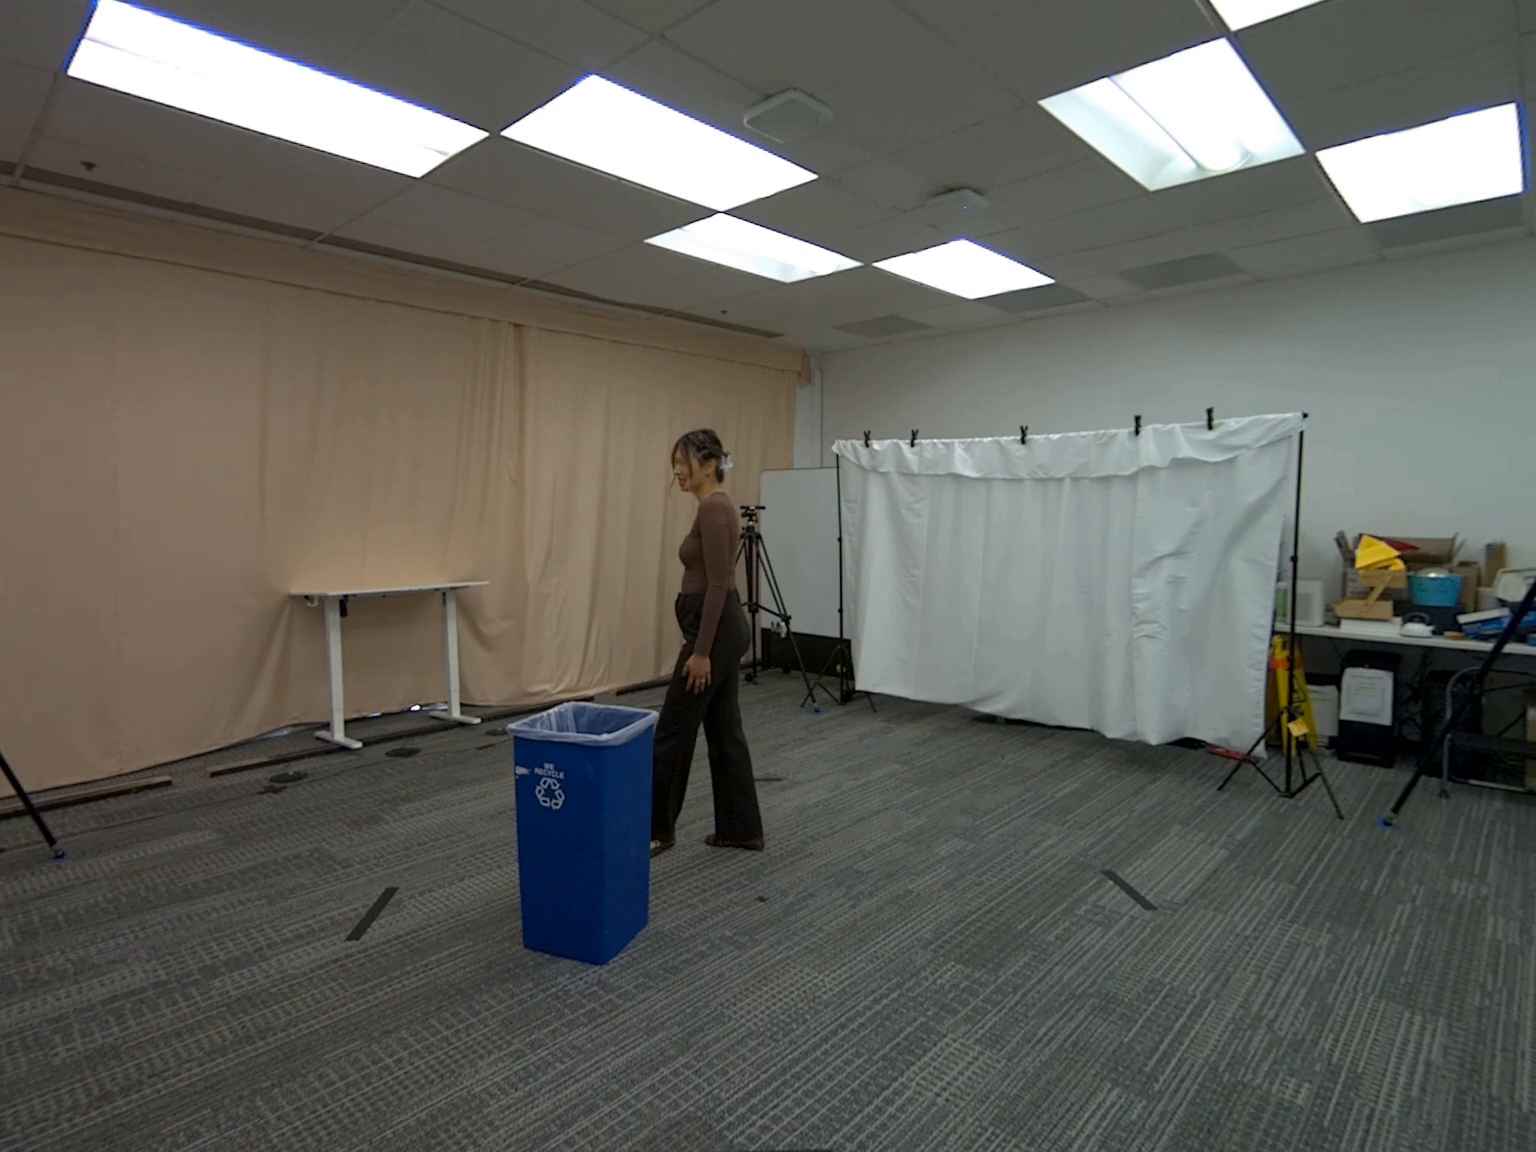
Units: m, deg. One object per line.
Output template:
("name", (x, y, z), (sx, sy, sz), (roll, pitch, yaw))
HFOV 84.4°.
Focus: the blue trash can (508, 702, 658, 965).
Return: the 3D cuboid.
("blue trash can", (-0.584, 0.813, 2.719), (0.382, 0.712, 0.370), (1, 3, 21))
